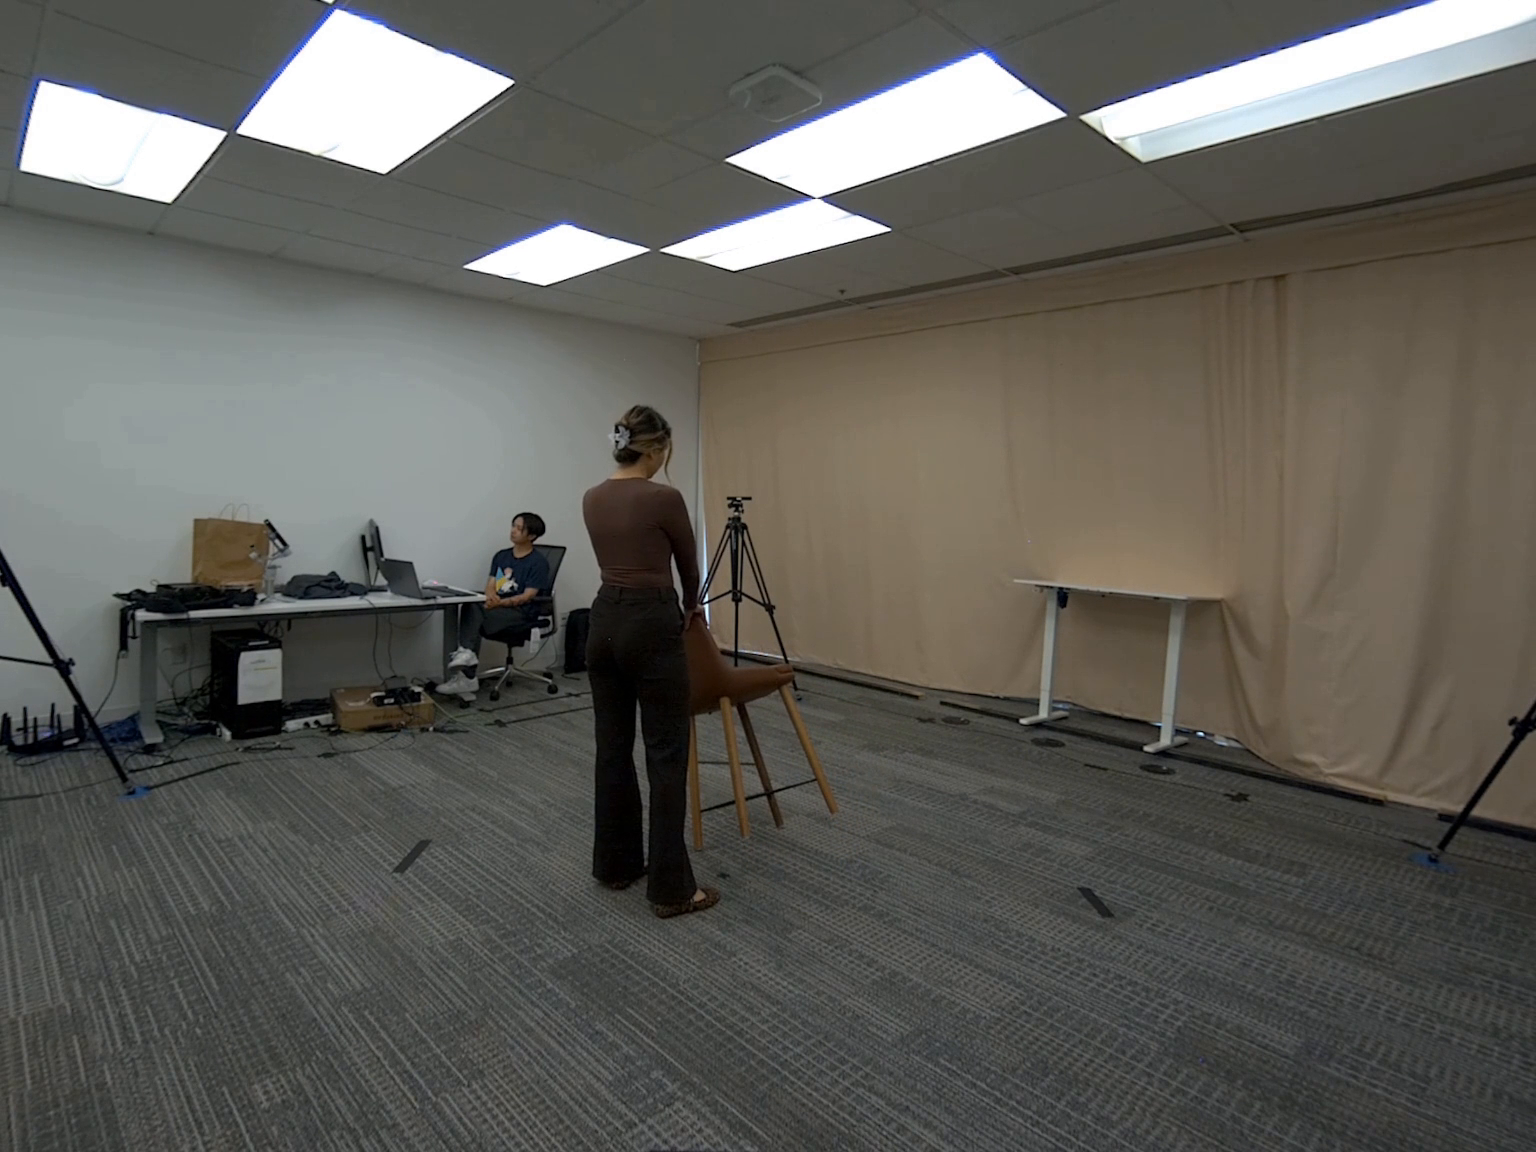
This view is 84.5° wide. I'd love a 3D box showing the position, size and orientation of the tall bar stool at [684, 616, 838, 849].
[{"bbox_3d":[-0.136,0.603,3.446,0.458,0.903,0.459,-5,-20,-37],"label":"tall bar stool"}]
